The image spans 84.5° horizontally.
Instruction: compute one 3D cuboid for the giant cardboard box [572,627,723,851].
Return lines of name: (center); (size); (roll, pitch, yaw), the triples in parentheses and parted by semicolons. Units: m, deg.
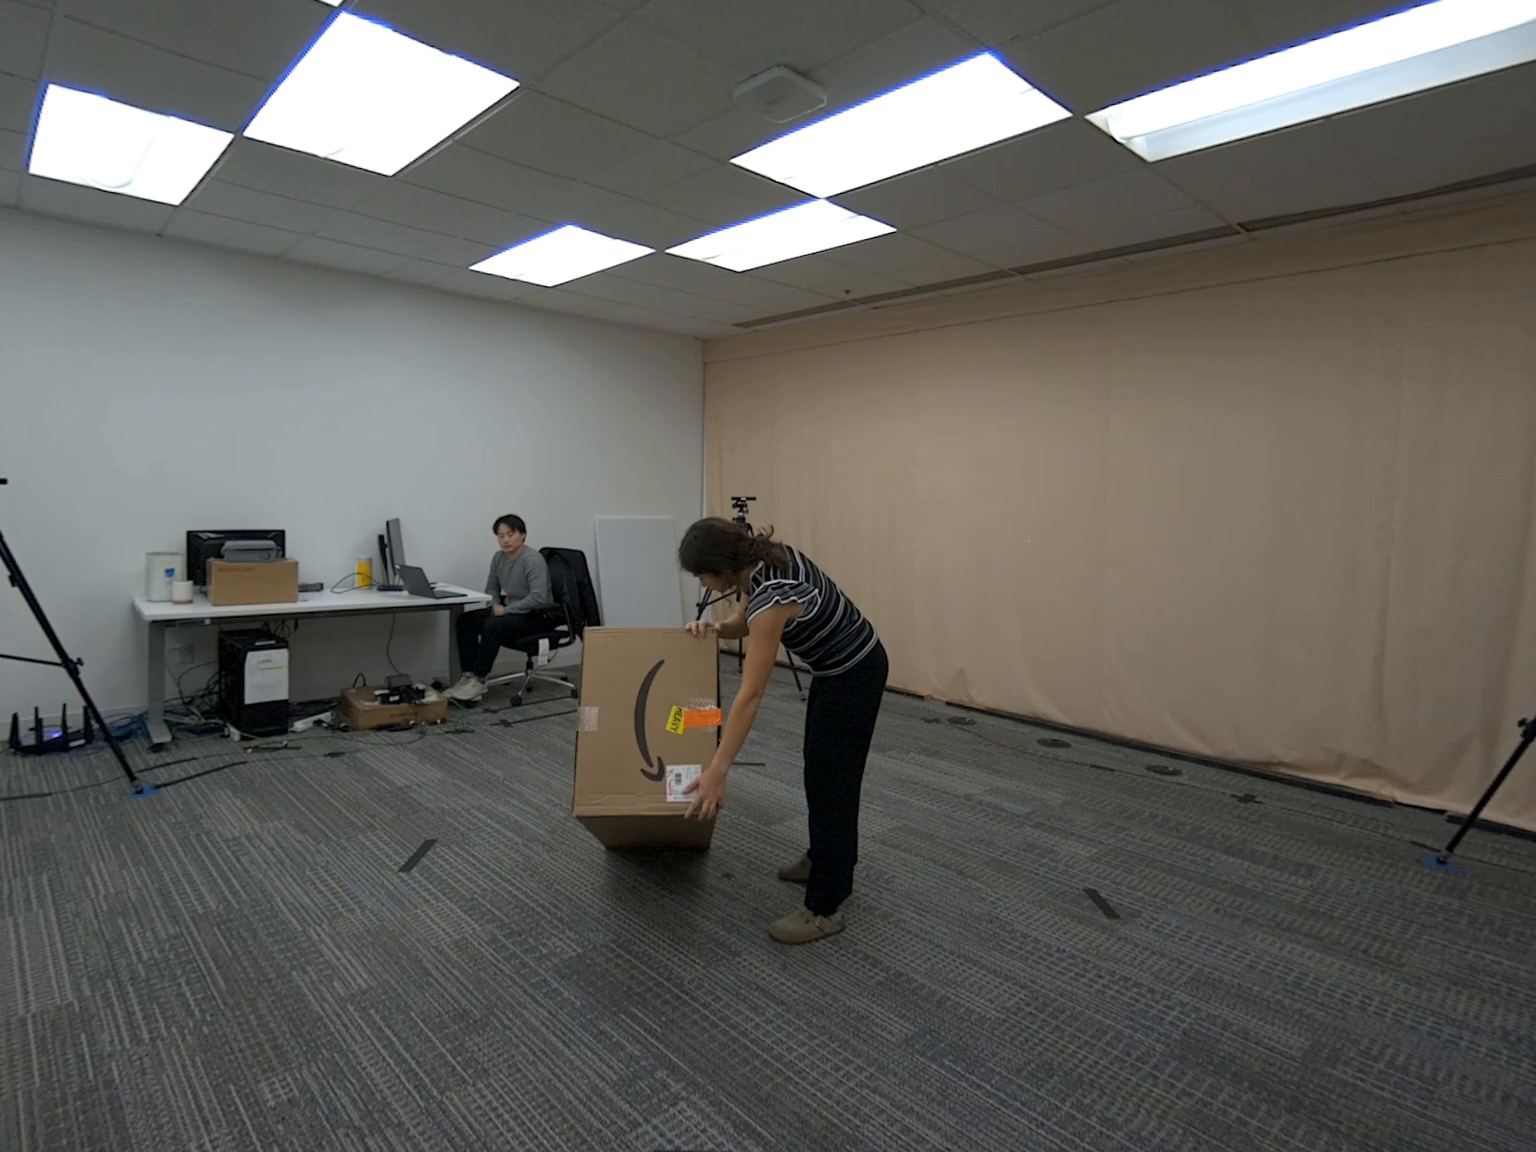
giant cardboard box: (-0.410, 0.623, 3.001); (0.425, 0.587, 1.012); (1, -23, -5)
